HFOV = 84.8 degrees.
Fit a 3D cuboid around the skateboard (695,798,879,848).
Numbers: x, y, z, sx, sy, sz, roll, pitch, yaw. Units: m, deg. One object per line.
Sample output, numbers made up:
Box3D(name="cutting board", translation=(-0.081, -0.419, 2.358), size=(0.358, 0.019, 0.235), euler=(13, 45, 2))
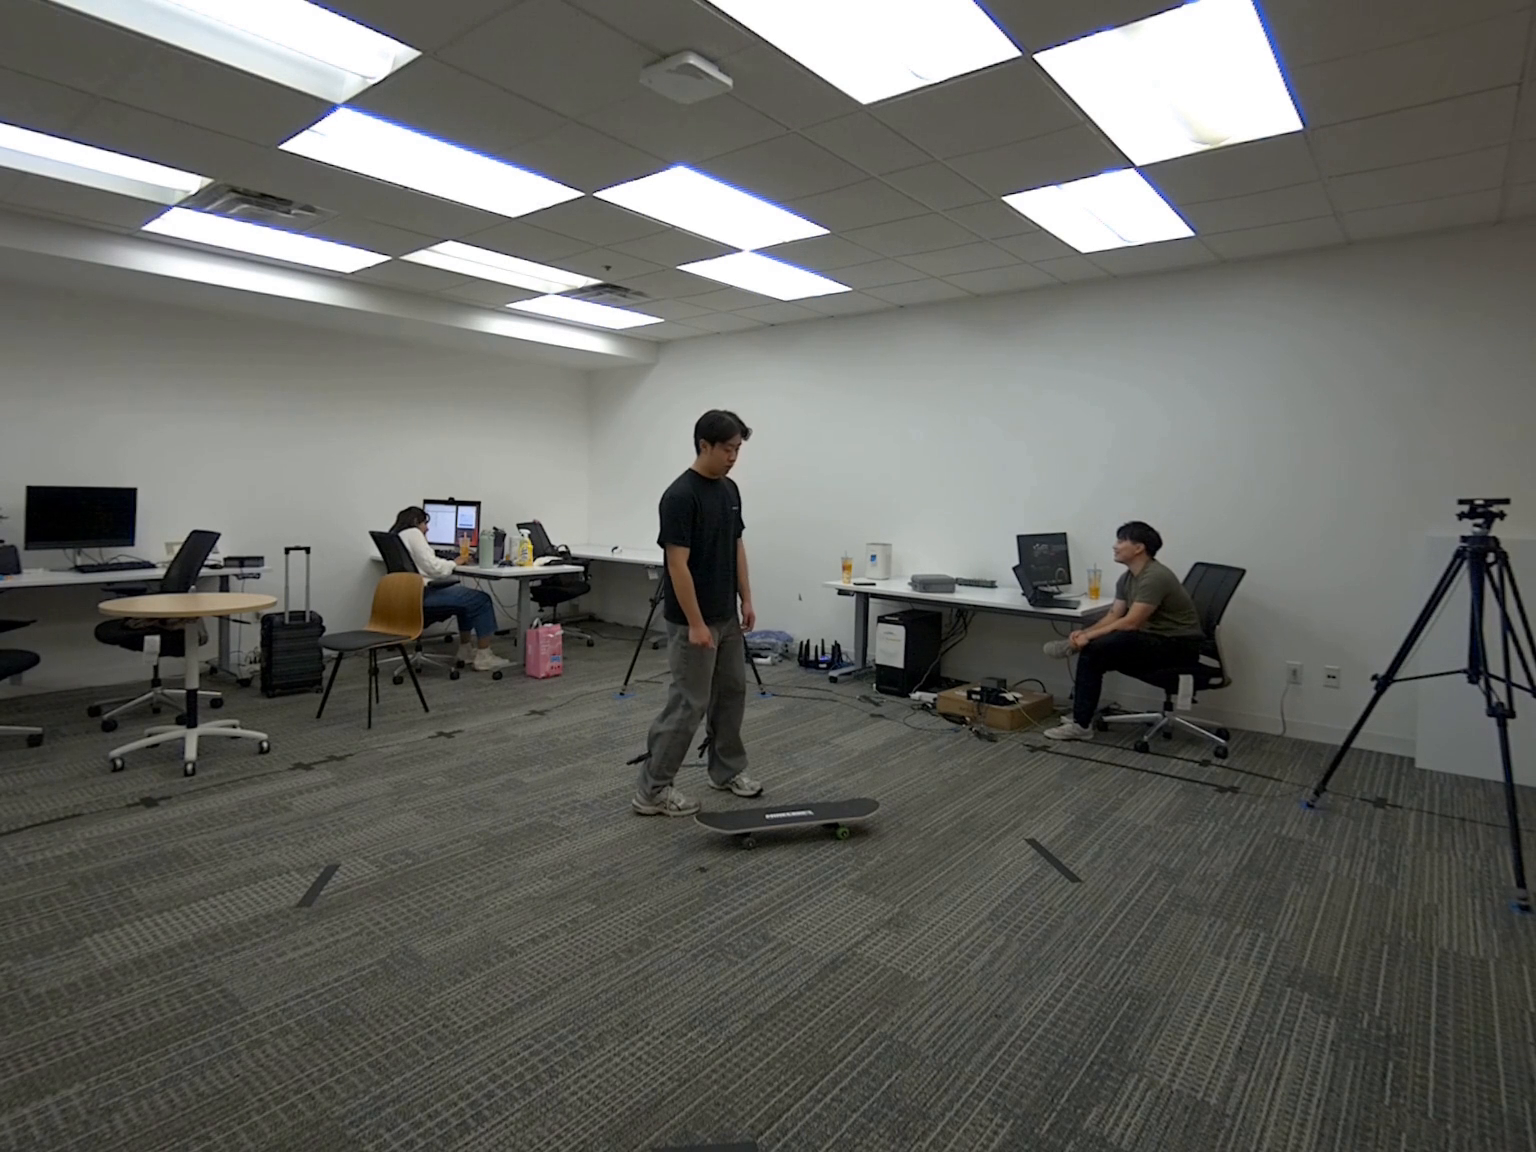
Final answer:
Box3D(name="skateboard", translation=(0.076, 0.990, 3.426), size=(0.772, 0.110, 0.197), euler=(-1, 5, -17))
